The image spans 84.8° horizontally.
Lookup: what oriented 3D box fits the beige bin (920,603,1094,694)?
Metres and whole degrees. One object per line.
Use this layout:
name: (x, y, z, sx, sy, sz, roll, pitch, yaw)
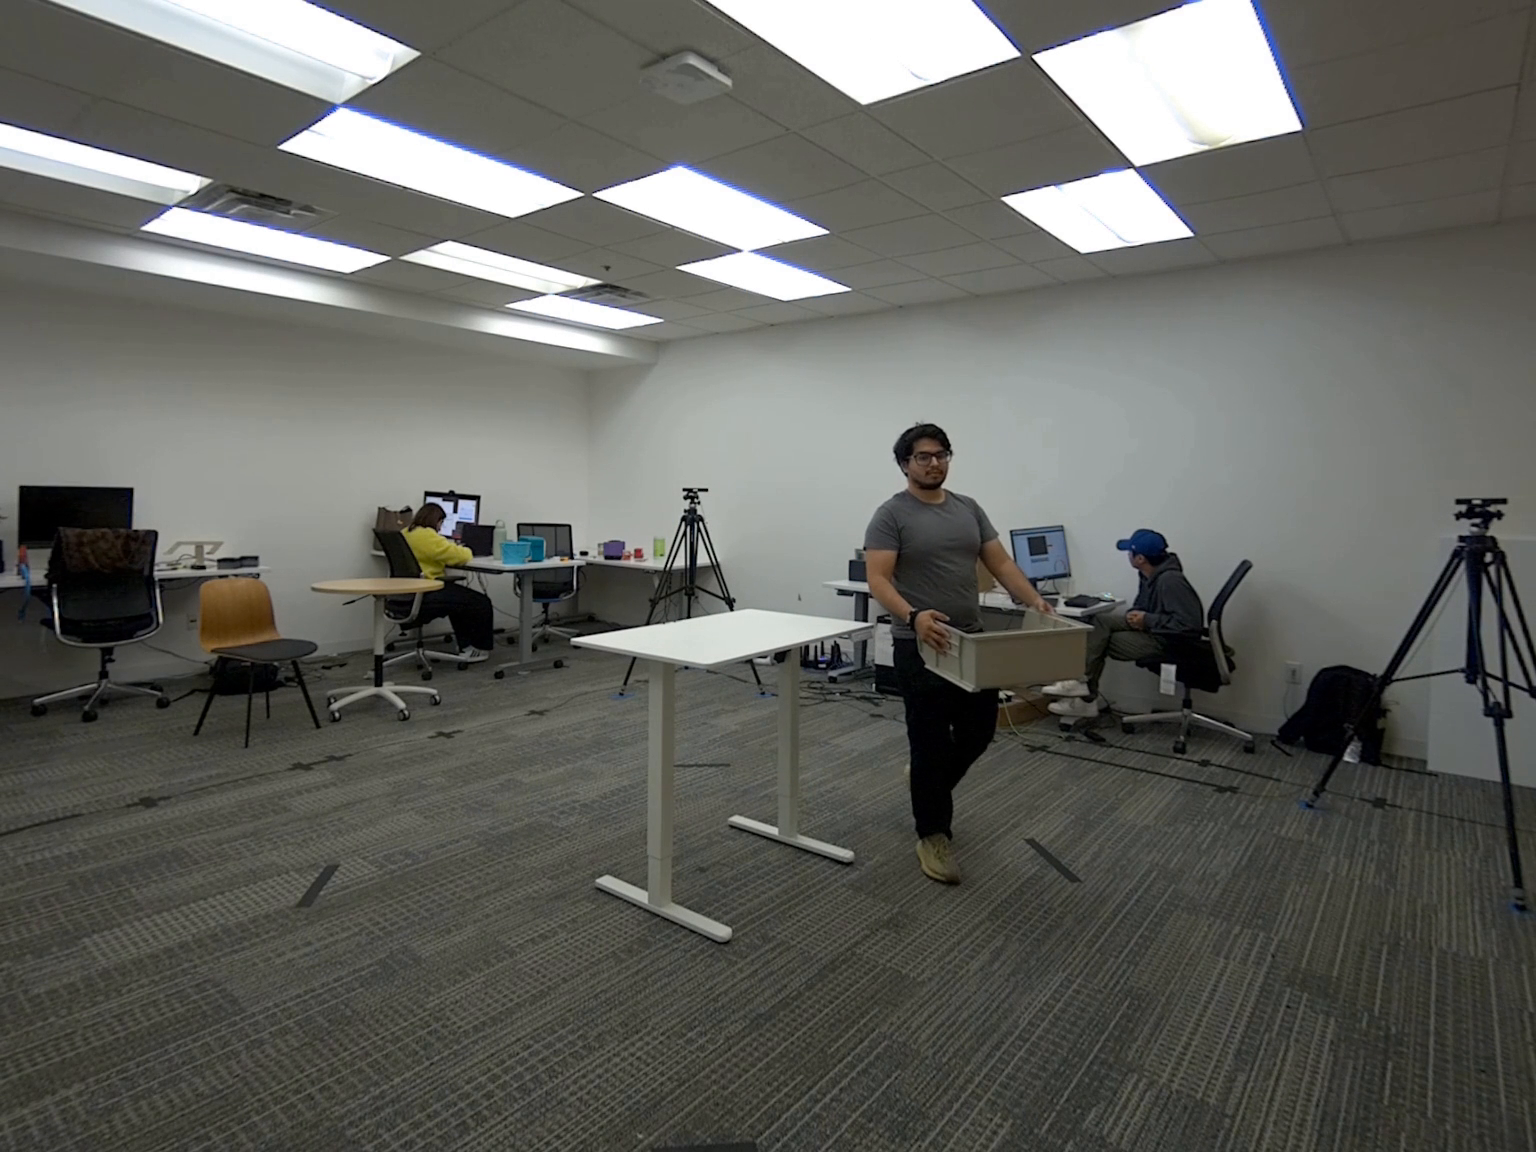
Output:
beige bin: (0.775, 0.233, 2.821, 0.416, 0.187, 0.386, -1, 11, -14)
